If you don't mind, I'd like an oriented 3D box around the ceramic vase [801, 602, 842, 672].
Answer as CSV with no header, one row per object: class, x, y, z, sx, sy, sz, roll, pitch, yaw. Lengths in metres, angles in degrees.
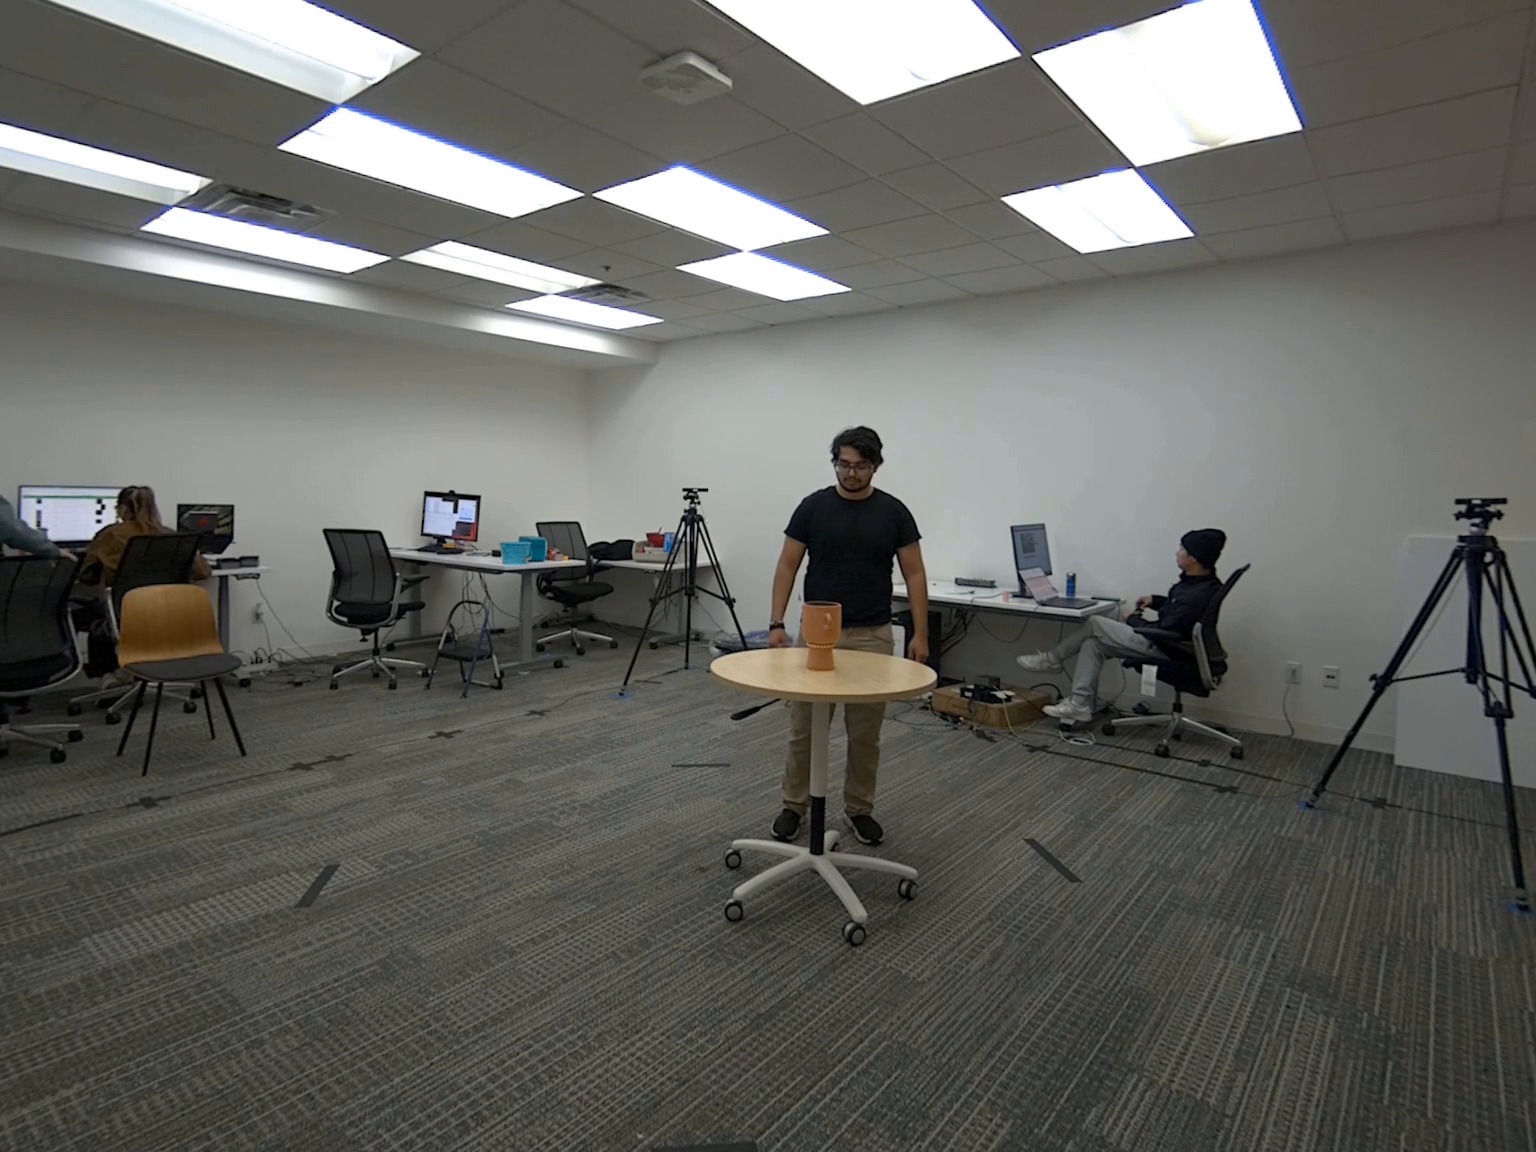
ceramic vase,0.172,0.202,2.916,0.138,0.219,0.155,2,5,29
